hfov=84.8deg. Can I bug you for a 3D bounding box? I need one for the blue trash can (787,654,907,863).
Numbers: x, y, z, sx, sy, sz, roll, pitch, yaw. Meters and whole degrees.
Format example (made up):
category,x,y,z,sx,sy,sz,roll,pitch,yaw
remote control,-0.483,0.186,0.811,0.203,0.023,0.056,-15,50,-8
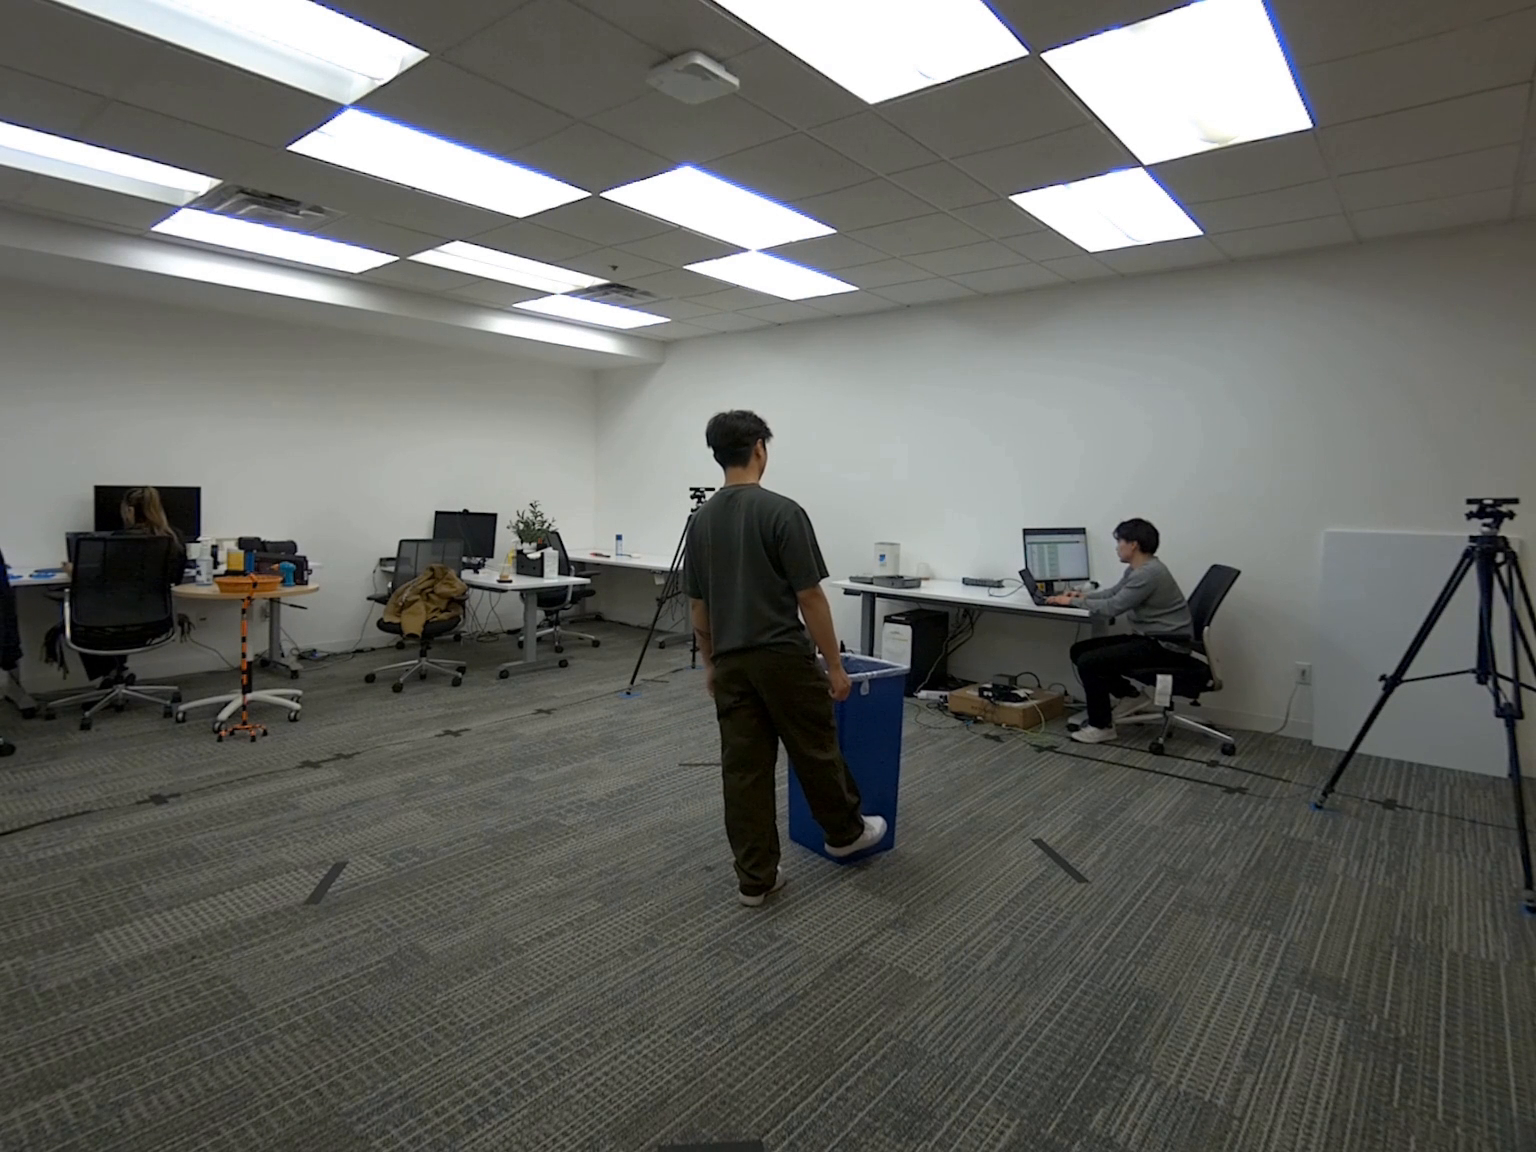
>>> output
category,x,y,z,sx,sy,sz,roll,pitch,yaw
blue trash can,0.290,0.694,3.349,0.362,0.713,0.390,1,2,-39
